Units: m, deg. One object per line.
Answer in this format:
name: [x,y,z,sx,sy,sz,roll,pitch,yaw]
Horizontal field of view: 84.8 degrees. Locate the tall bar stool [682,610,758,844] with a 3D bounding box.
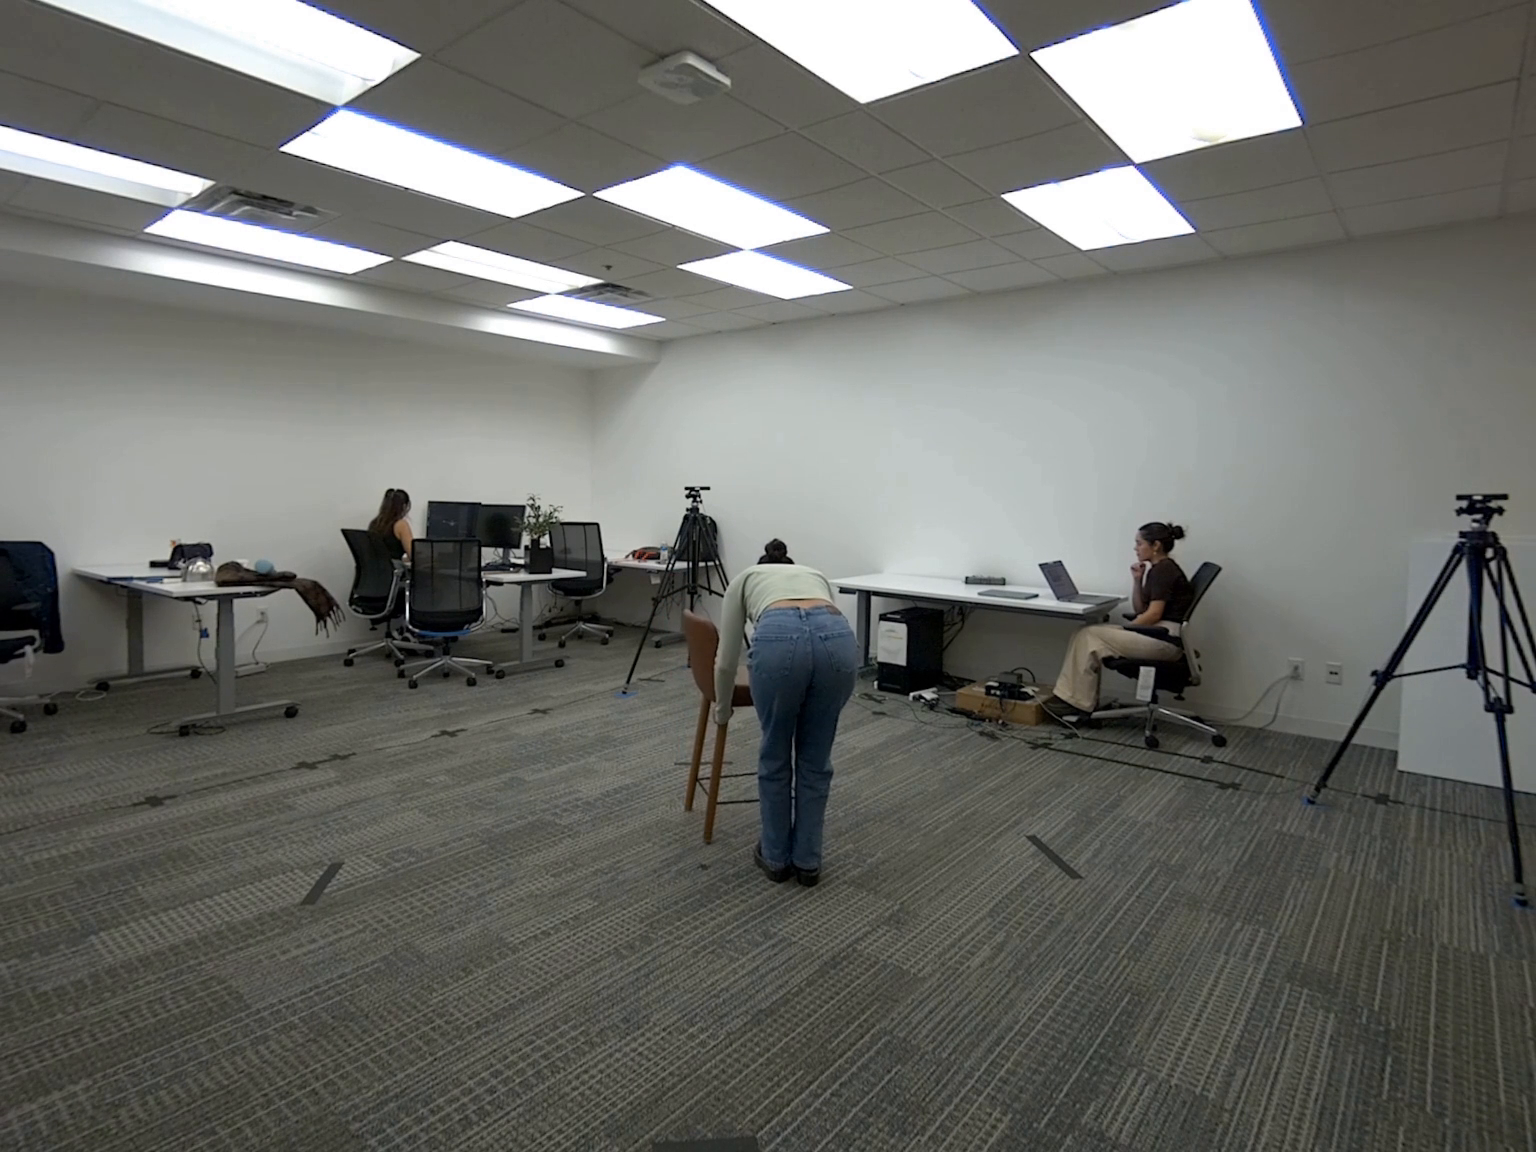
tall bar stool: [-0.105,0.586,3.548,0.460,0.889,0.465,-2,2,-17]
